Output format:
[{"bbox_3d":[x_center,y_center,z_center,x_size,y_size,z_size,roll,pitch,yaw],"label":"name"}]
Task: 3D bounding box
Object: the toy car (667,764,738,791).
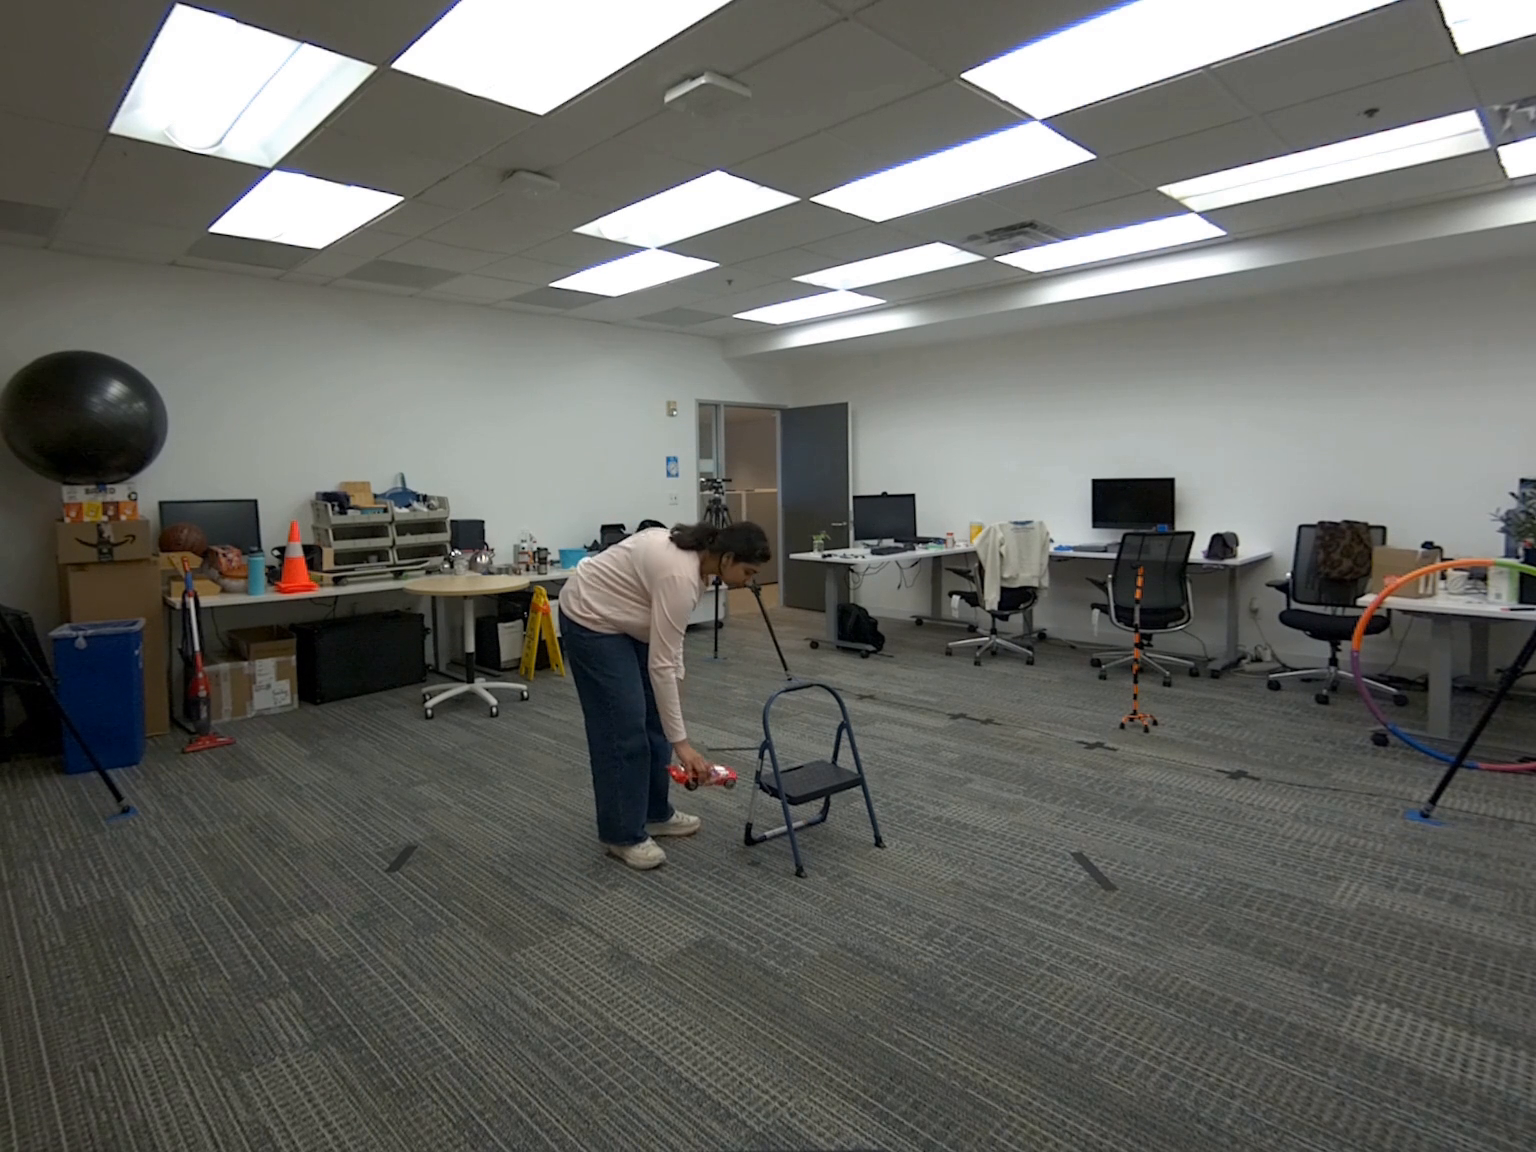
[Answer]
[{"bbox_3d":[-0.228,0.698,3.008,0.248,0.083,0.134,16,4,-23],"label":"toy car"}]
